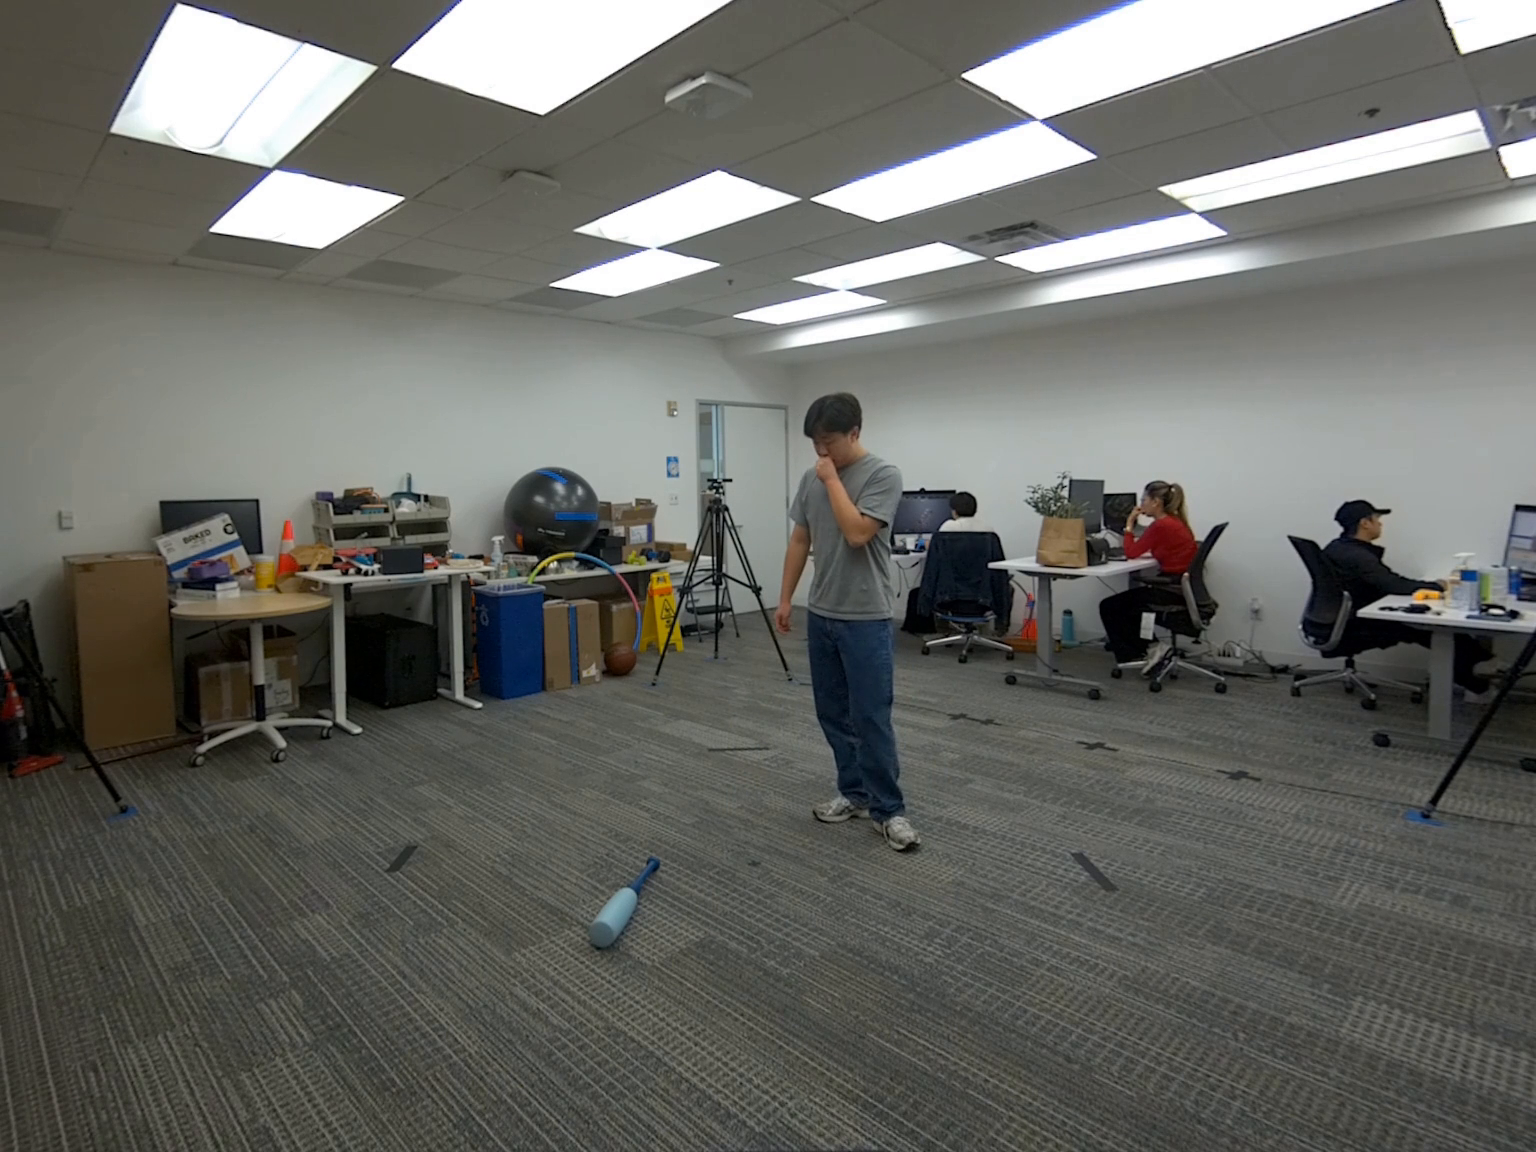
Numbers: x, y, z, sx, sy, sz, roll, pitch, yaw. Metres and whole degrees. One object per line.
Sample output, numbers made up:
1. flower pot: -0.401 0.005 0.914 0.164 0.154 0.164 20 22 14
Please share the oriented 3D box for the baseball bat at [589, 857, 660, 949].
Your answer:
1. baseball bat: -0.451 1.051 2.805 0.090 0.089 0.539 0 4 8
